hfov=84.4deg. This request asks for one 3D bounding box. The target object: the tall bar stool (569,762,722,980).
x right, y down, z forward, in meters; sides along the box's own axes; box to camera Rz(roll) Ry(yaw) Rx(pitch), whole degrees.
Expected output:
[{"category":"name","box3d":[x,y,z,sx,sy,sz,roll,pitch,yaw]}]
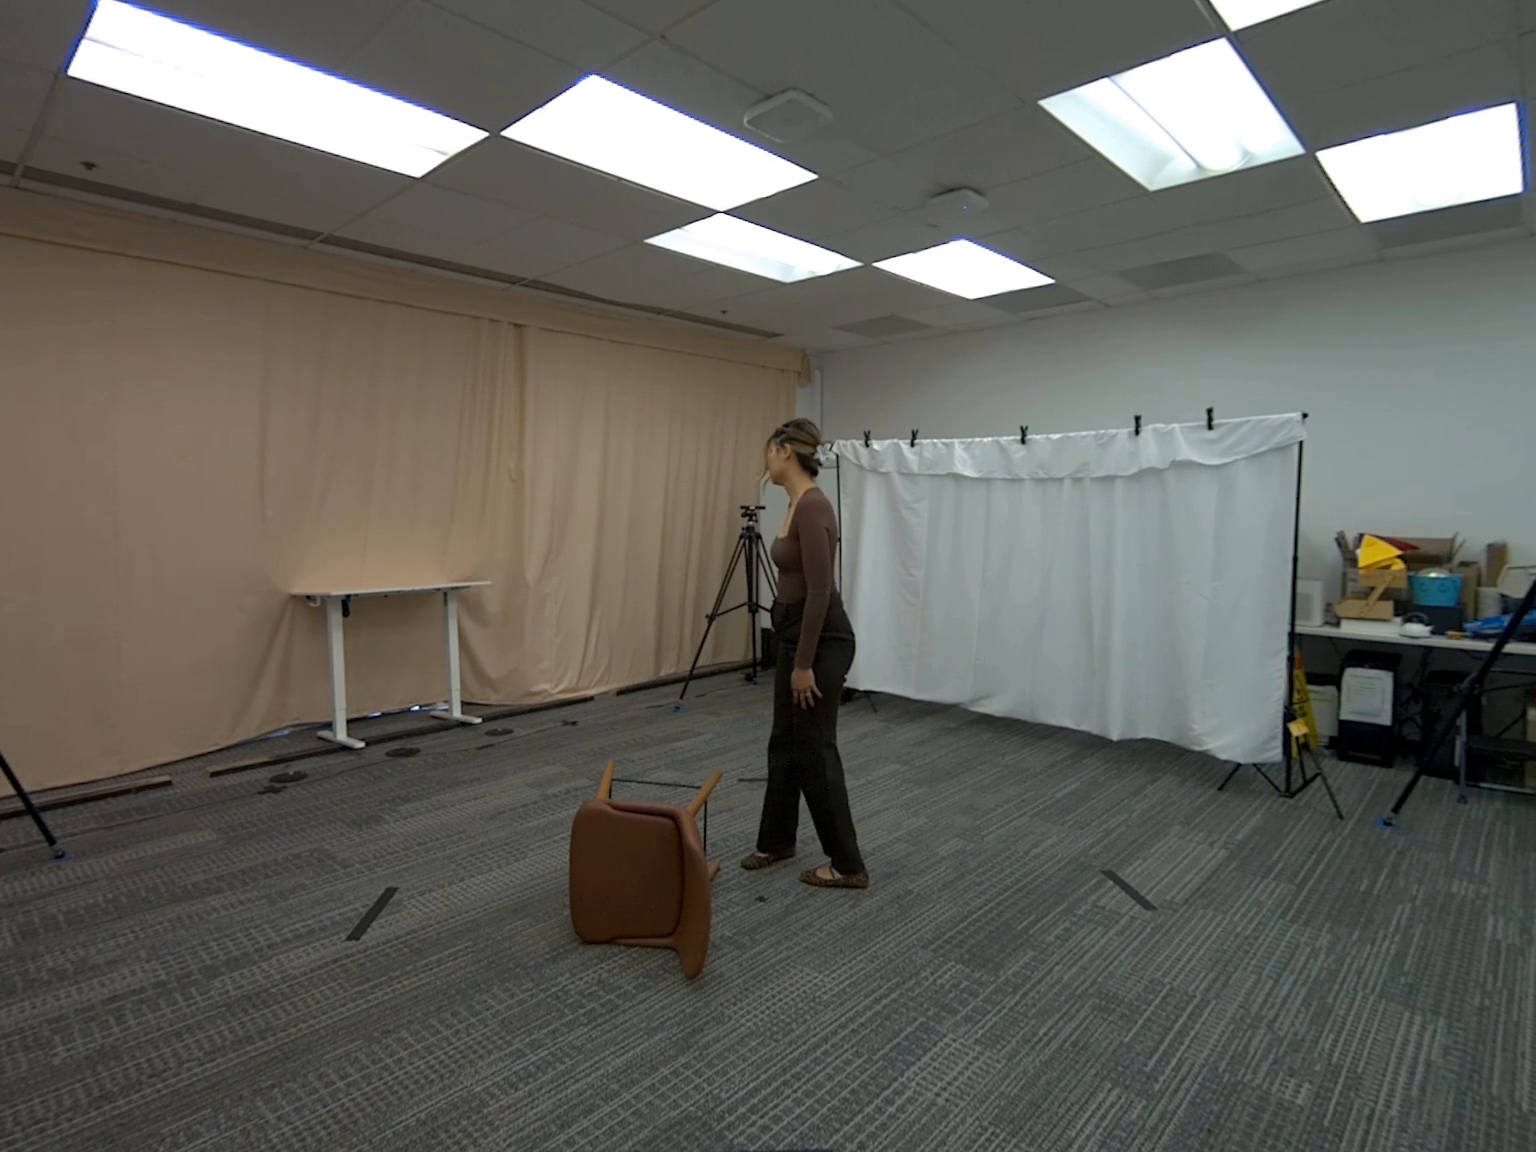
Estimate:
[{"category":"tall bar stool","box3d":[-0.406,0.948,2.827,0.468,0.456,0.889,2,2,0]}]
